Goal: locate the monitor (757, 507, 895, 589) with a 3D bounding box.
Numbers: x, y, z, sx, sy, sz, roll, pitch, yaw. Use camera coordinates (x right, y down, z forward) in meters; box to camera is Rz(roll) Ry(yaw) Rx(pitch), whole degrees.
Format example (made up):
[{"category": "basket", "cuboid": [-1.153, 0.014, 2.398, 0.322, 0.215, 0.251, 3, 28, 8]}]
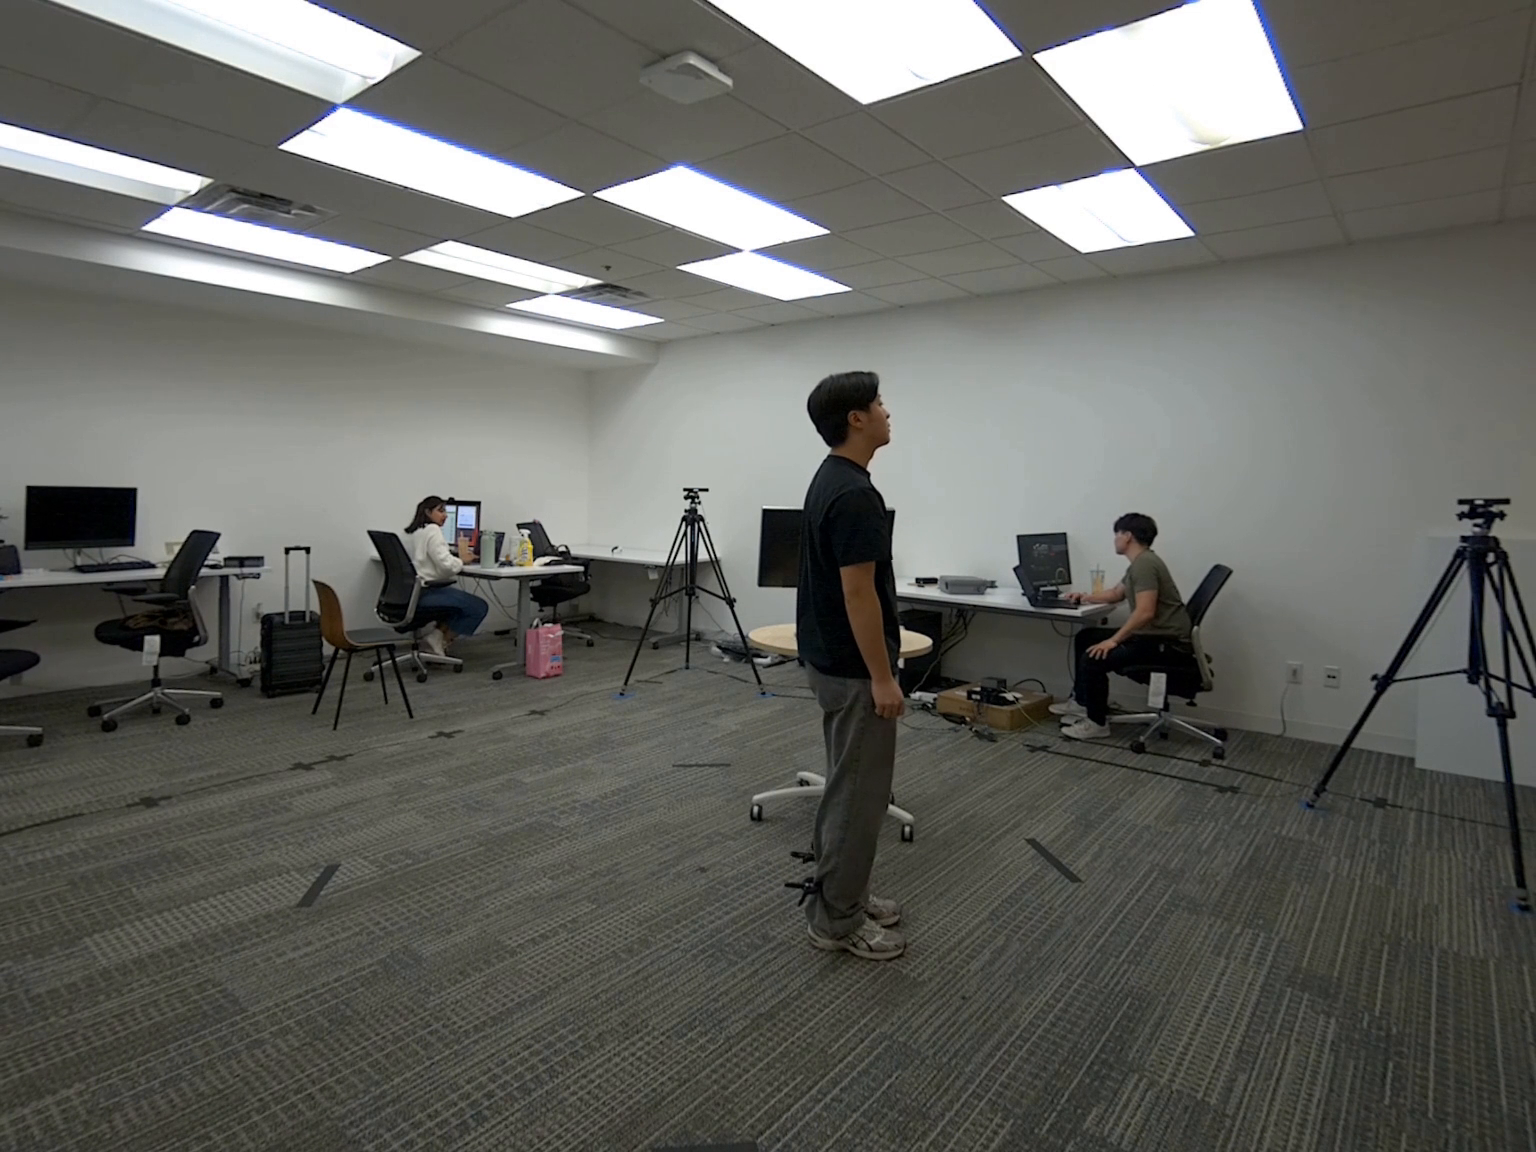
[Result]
[{"category": "monitor", "cuboid": [0.232, -0.013, 3.553, 0.561, 0.564, 0.223, 1, 4, -2]}]
